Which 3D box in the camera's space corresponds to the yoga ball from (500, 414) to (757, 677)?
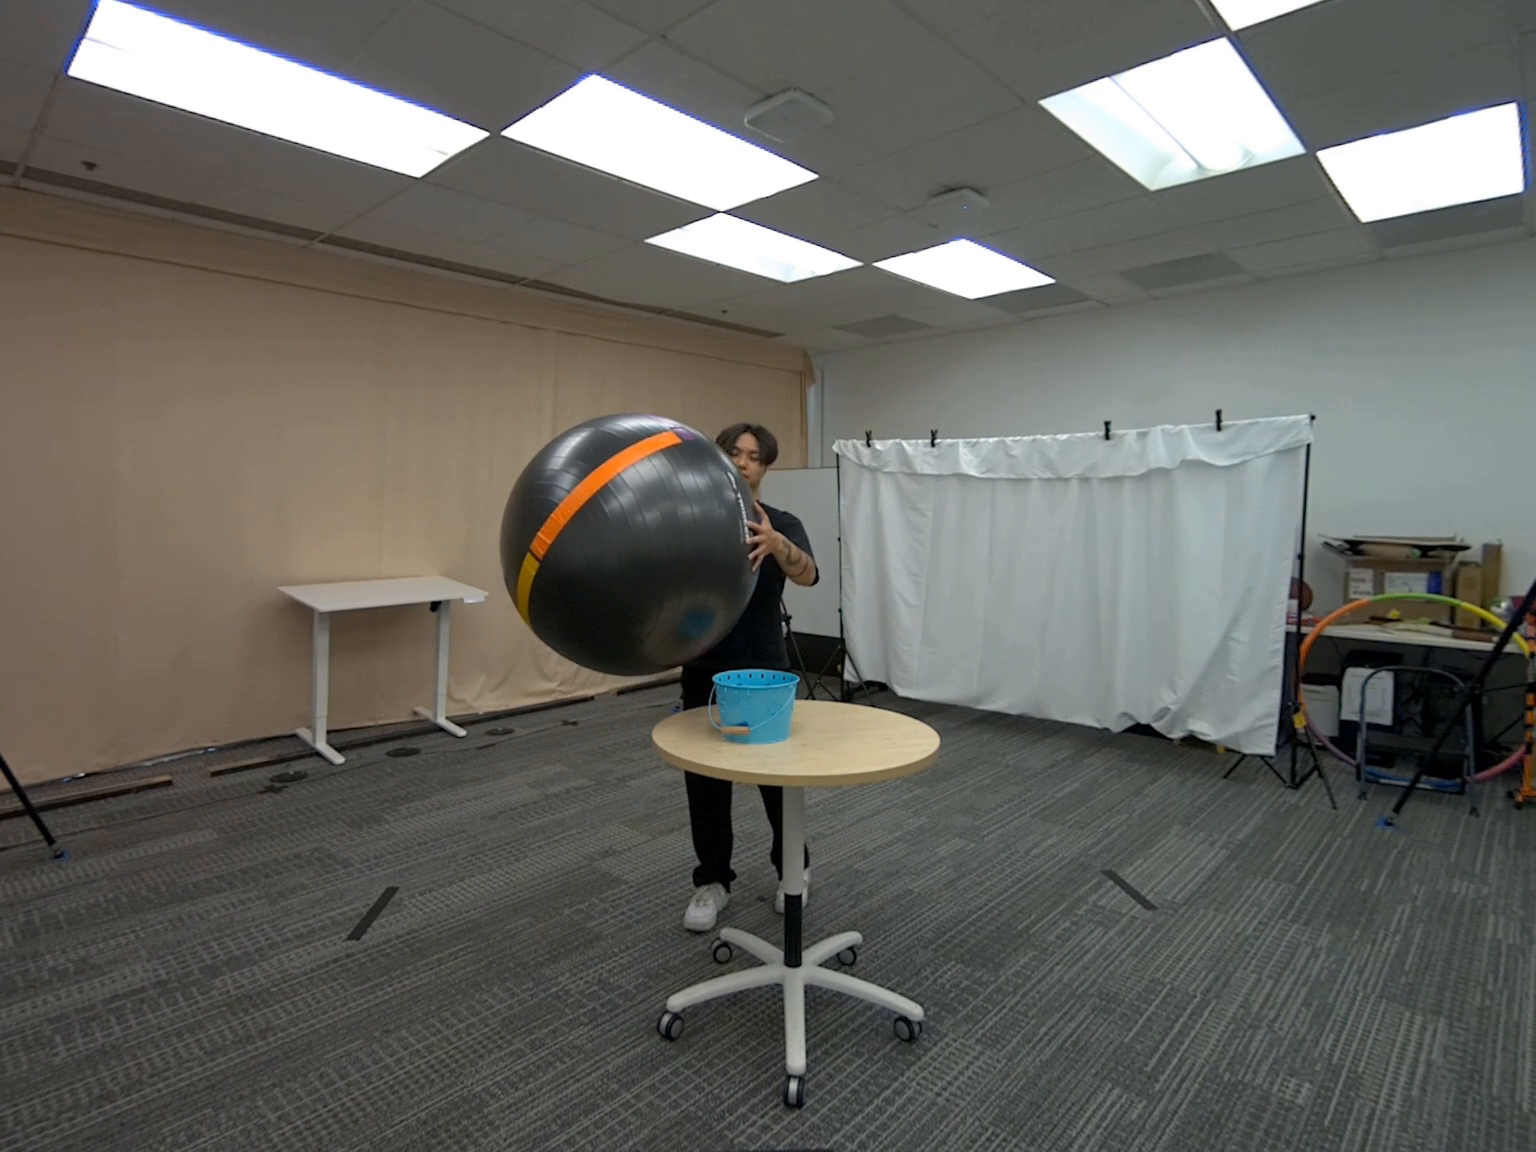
[{"bbox_3d":[-0.400,-0.089,2.464,0.757,0.756,0.760,0,4,-2],"label":"yoga ball"}]
